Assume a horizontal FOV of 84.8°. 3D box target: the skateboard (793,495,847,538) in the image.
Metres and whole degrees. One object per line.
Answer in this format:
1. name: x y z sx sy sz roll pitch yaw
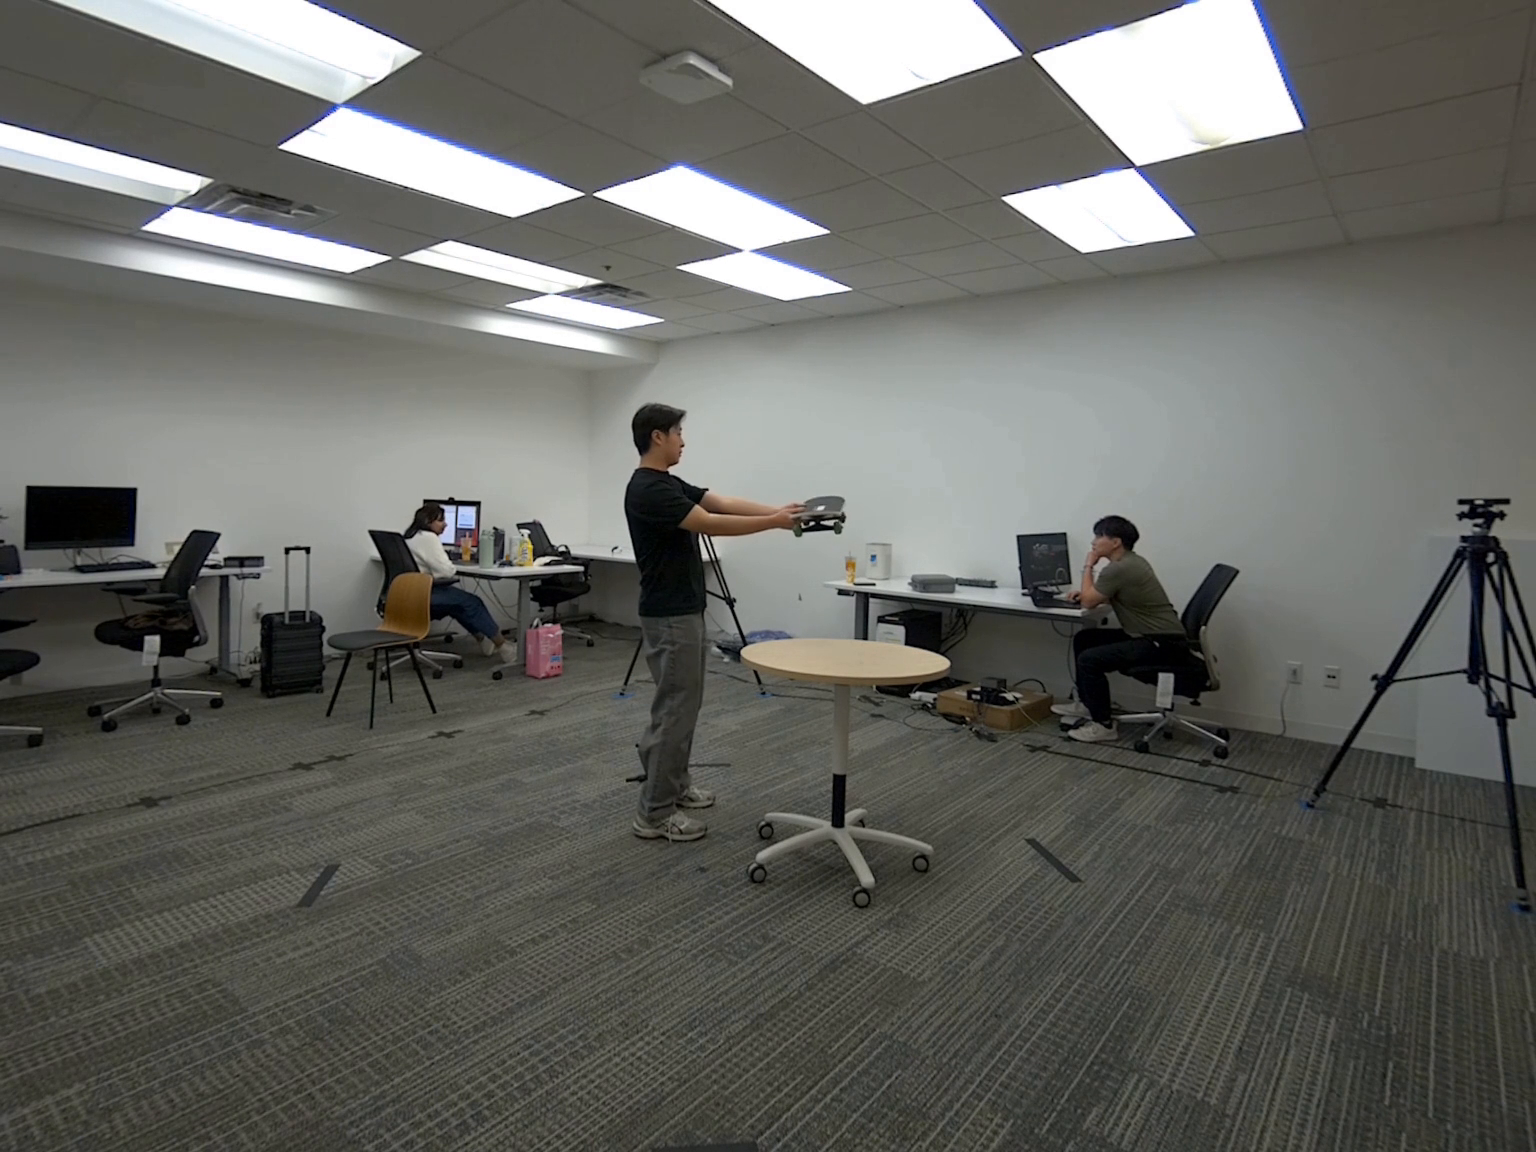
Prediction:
1. skateboard: 0.206 -0.246 3.487 0.195 0.109 0.783 -4 9 9
